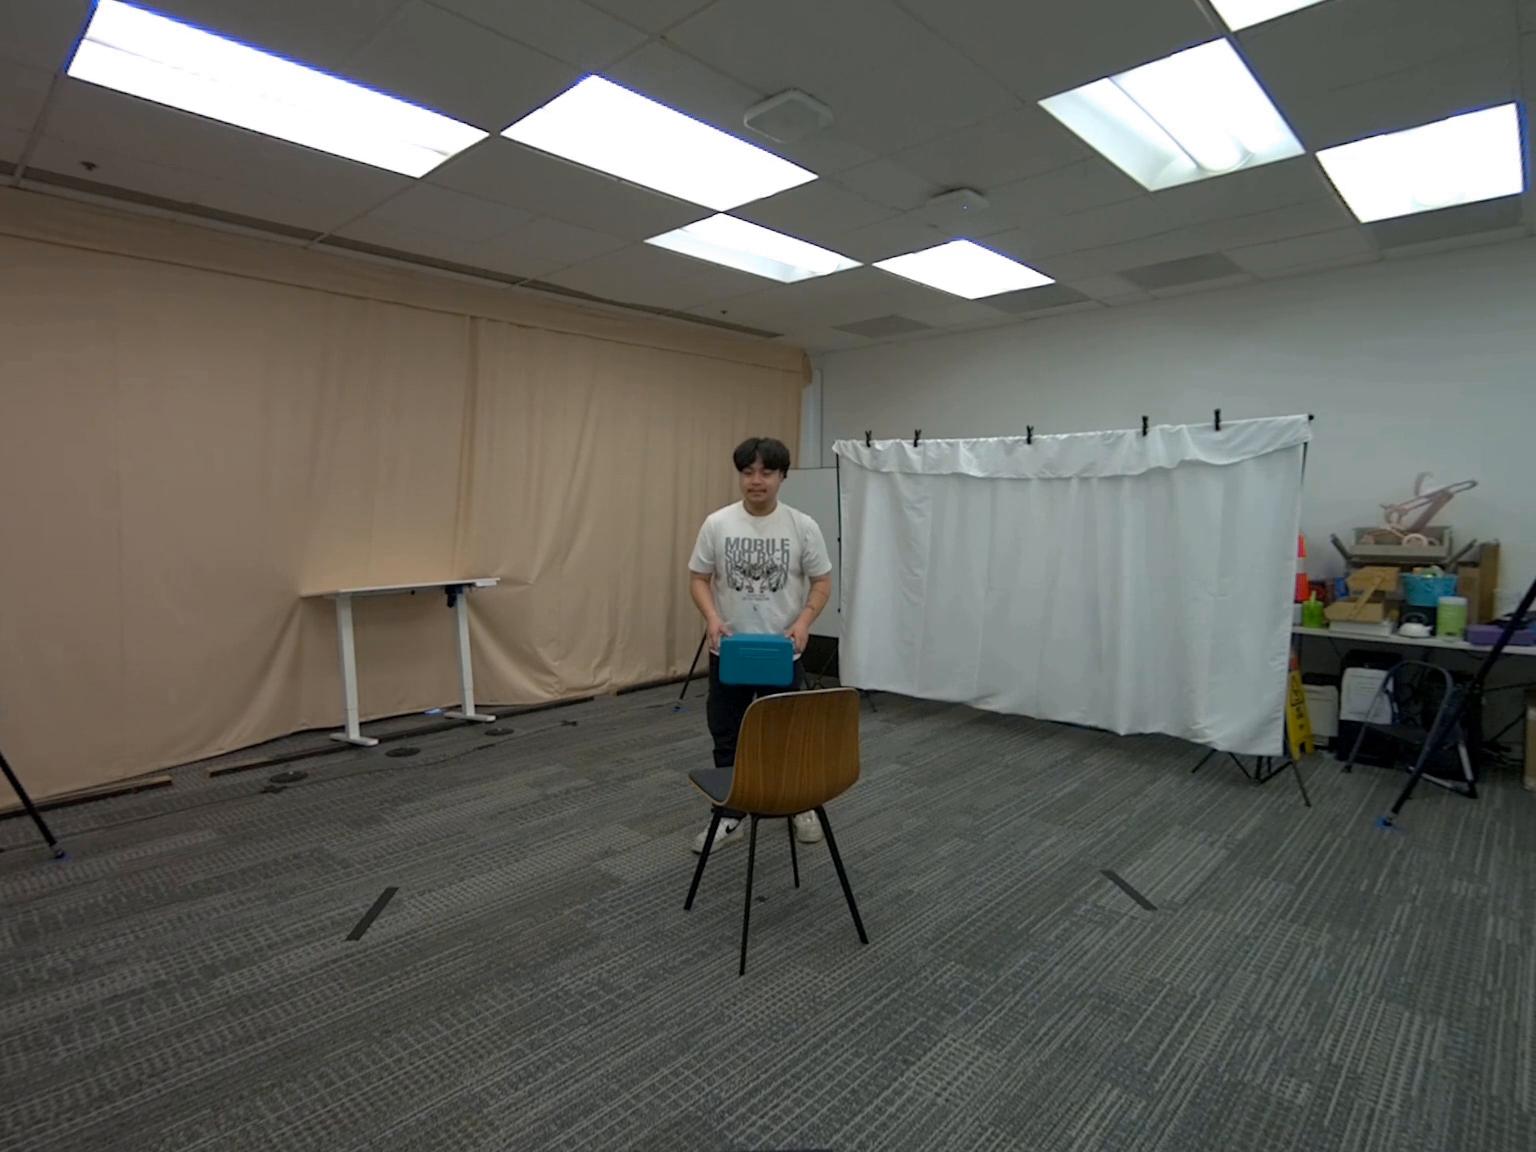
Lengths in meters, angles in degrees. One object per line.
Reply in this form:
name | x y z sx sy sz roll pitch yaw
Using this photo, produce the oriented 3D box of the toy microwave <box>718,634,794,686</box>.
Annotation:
toy microwave | -0.049 0.324 3.284 0.288 0.183 0.152 1 7 5
